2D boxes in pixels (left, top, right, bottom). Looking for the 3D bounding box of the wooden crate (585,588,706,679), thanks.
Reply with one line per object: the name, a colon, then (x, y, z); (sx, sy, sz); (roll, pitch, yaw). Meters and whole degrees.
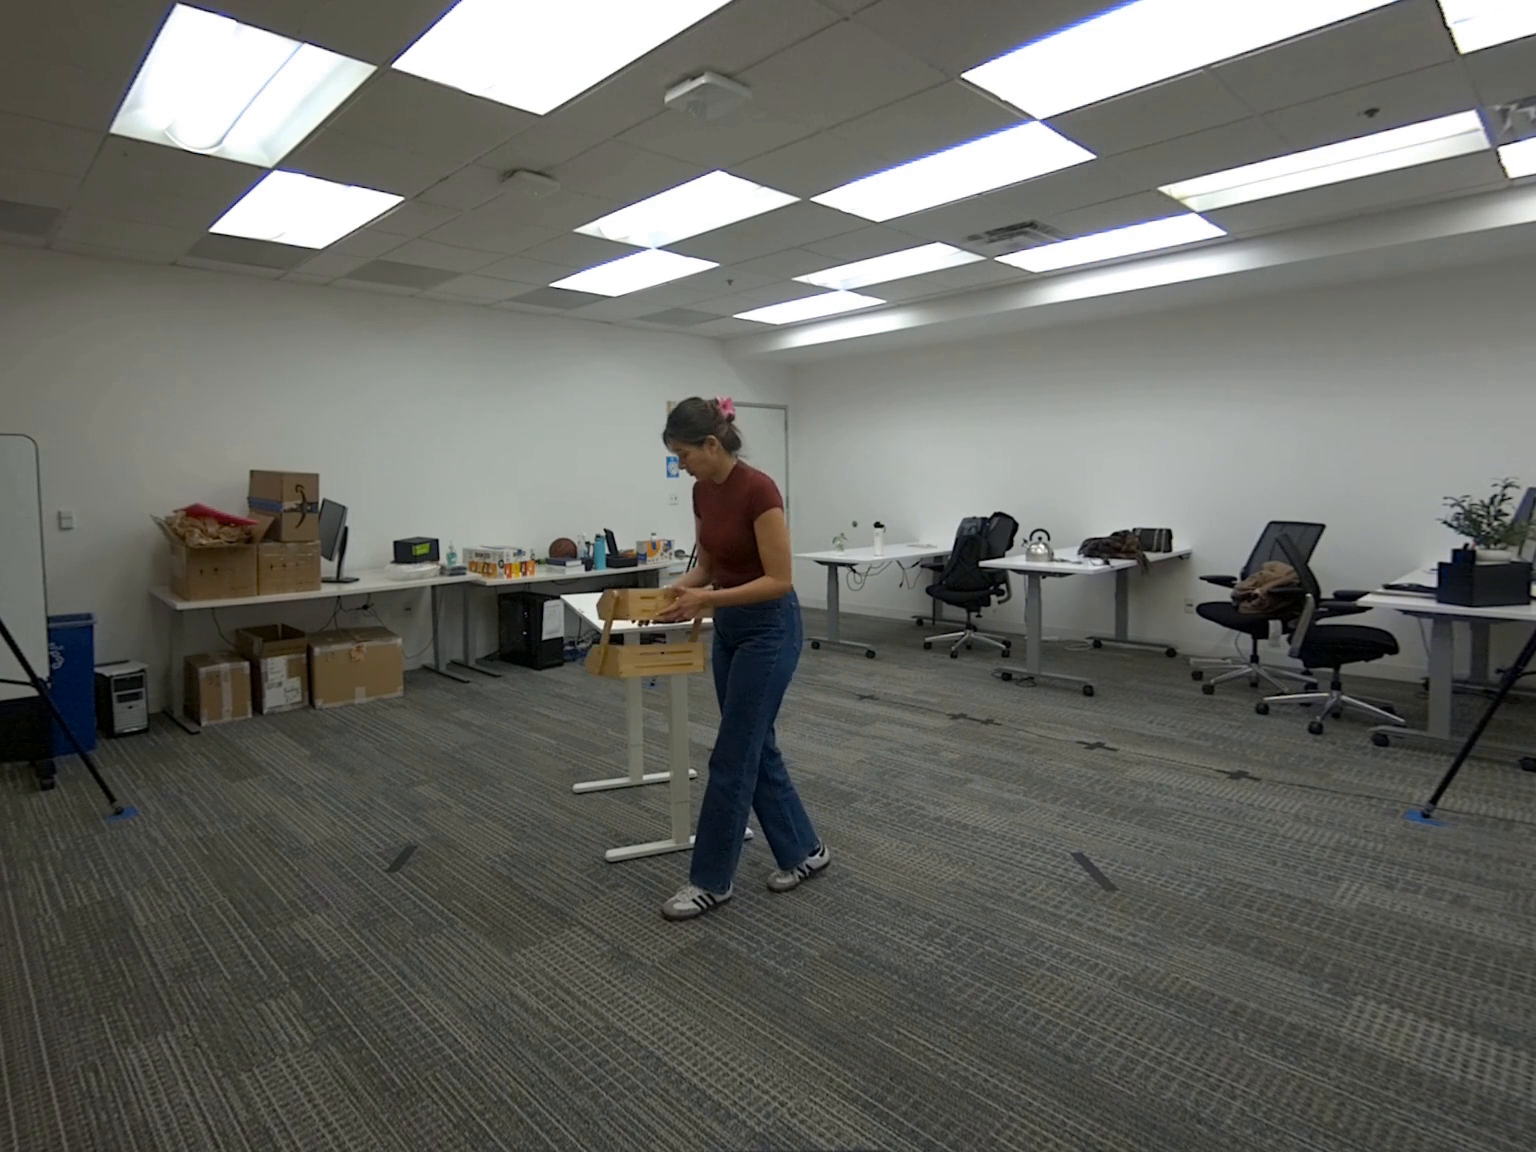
wooden crate: (-0.377, 0.170, 2.678); (0.315, 0.274, 0.309); (1, -3, -36)
